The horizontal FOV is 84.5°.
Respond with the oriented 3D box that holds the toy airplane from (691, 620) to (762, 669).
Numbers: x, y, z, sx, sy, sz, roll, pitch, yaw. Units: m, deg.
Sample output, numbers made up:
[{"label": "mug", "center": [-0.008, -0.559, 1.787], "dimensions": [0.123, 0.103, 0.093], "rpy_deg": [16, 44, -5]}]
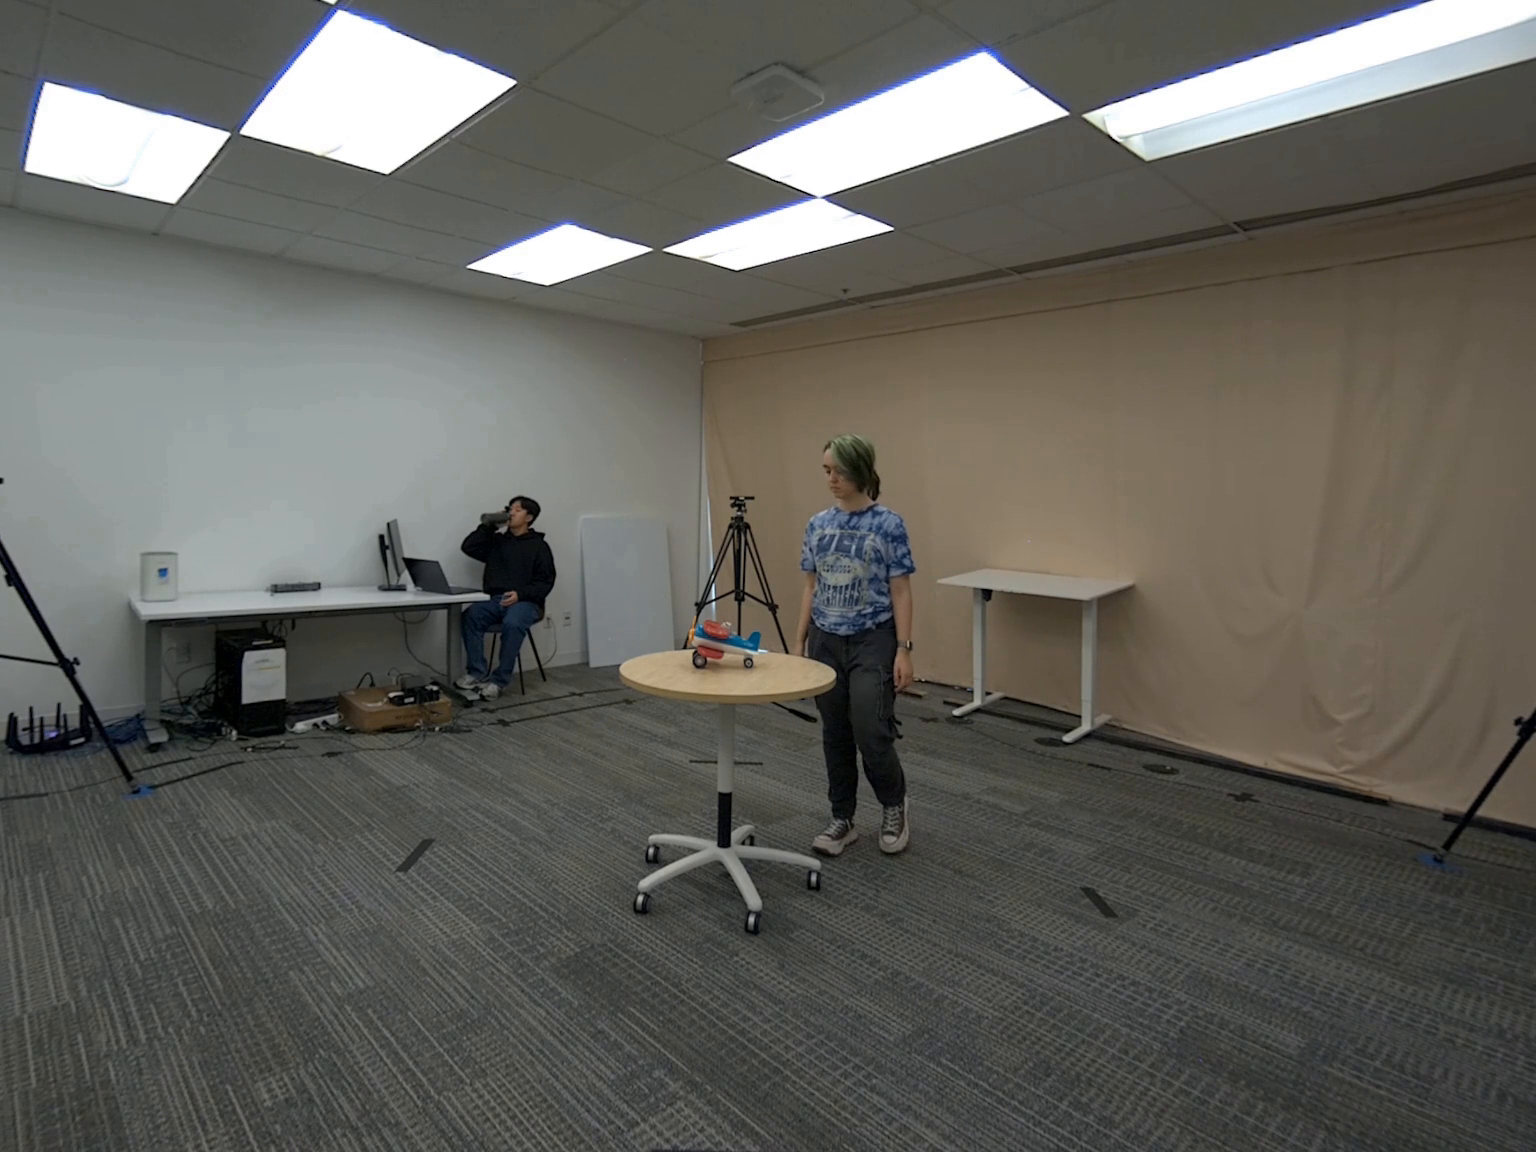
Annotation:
[{"label": "toy airplane", "center": [-0.173, 0.248, 3.050], "dimensions": [0.254, 0.156, 0.257], "rpy_deg": [-3, 7, -33]}]
